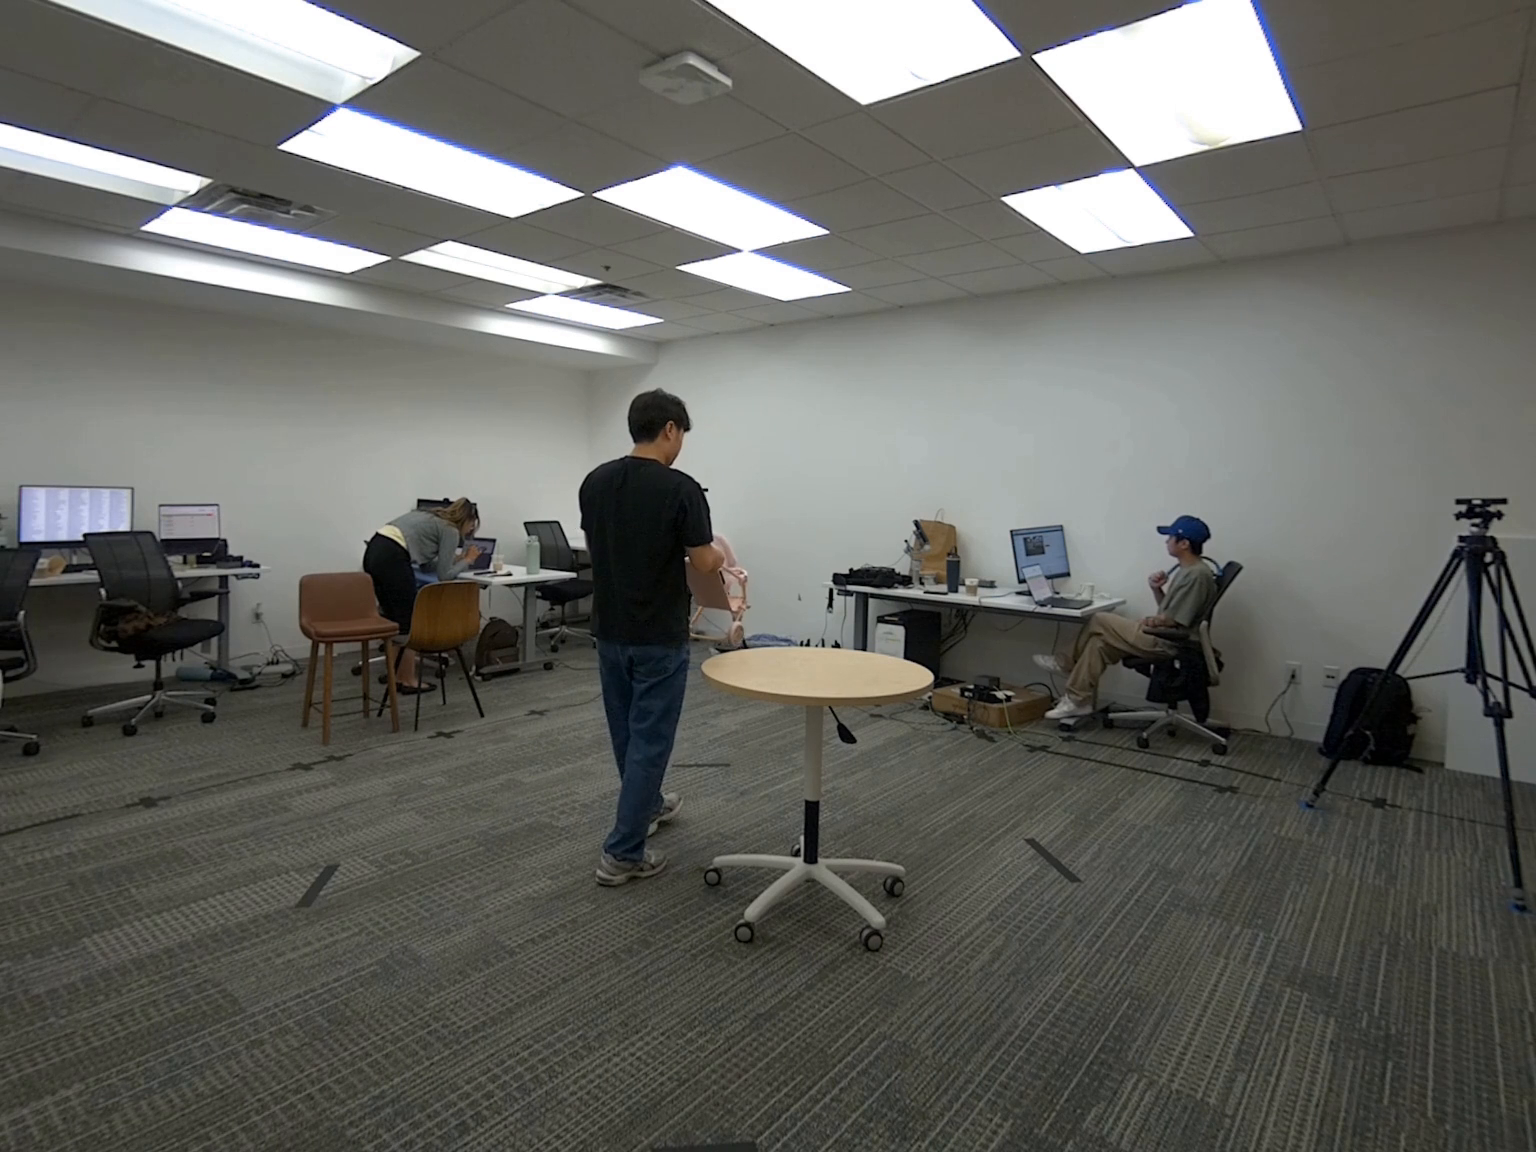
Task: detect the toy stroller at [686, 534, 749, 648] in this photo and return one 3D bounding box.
[{"bbox_3d":[-0.229,0.041,3.550,0.290,0.520,0.340,8,32,30],"label":"toy stroller"}]
